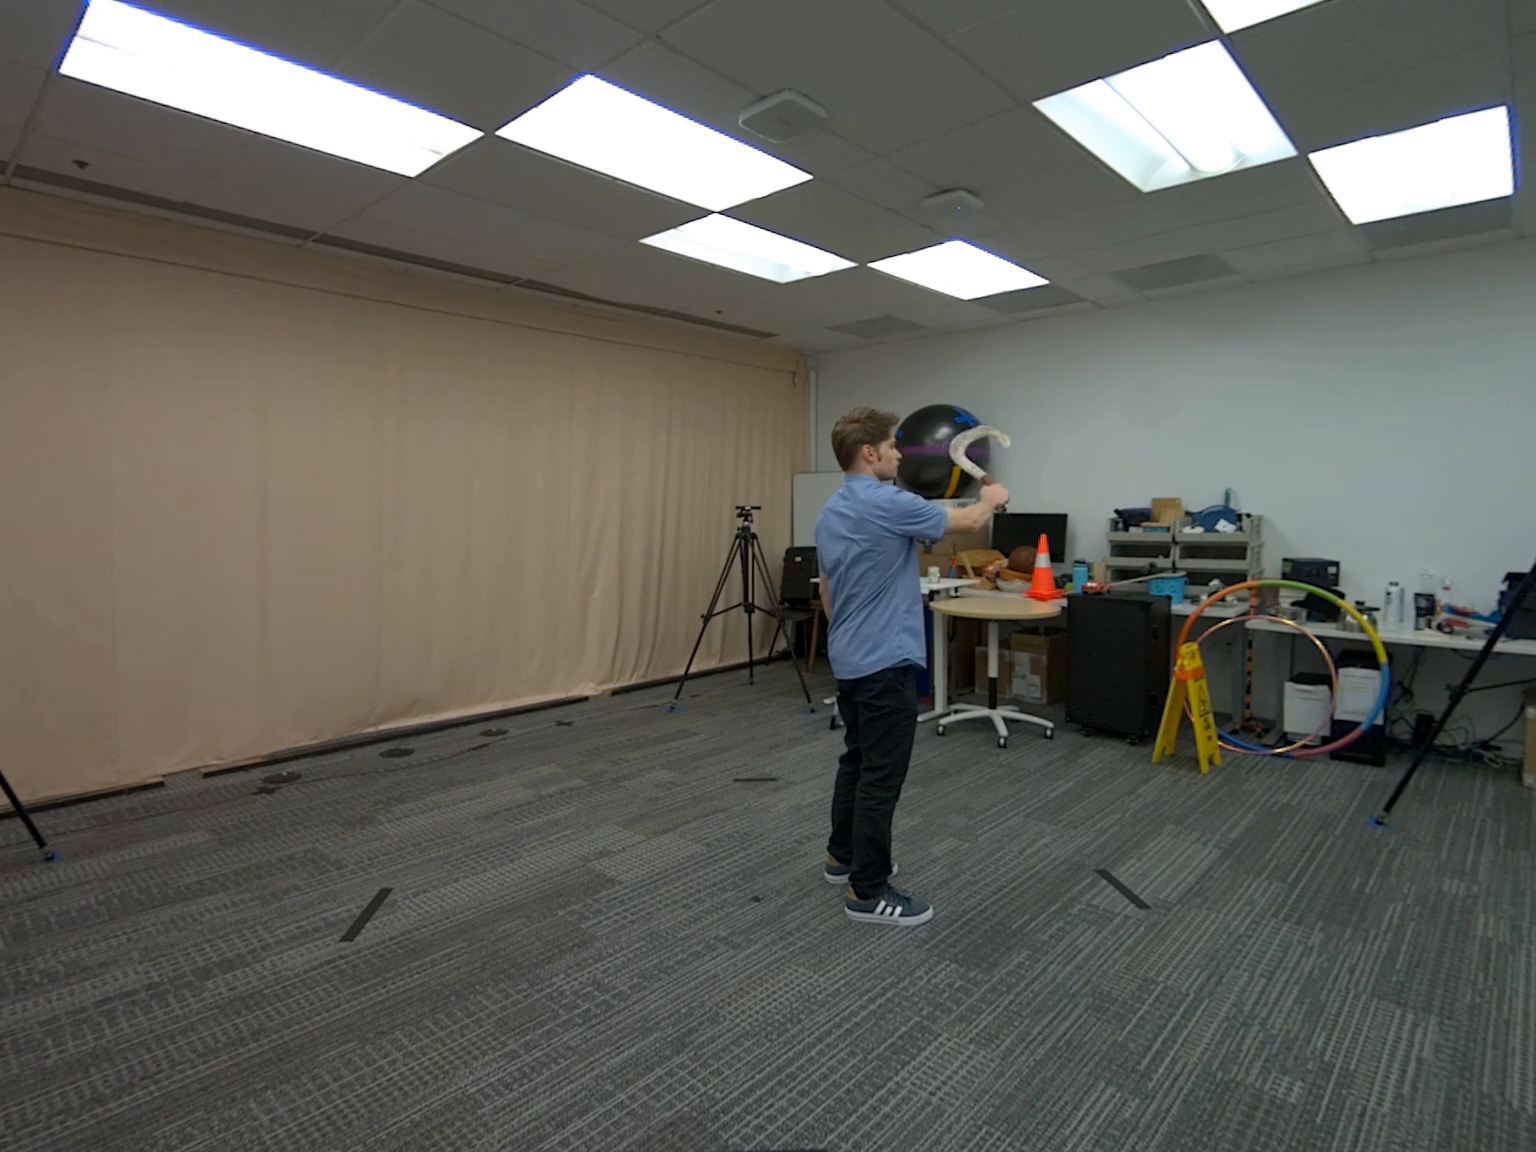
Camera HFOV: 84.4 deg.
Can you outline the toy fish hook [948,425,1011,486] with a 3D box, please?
[{"bbox_3d":[0.882,-0.398,3.238,0.227,0.047,0.519,-27,41,13],"label":"toy fish hook"}]
